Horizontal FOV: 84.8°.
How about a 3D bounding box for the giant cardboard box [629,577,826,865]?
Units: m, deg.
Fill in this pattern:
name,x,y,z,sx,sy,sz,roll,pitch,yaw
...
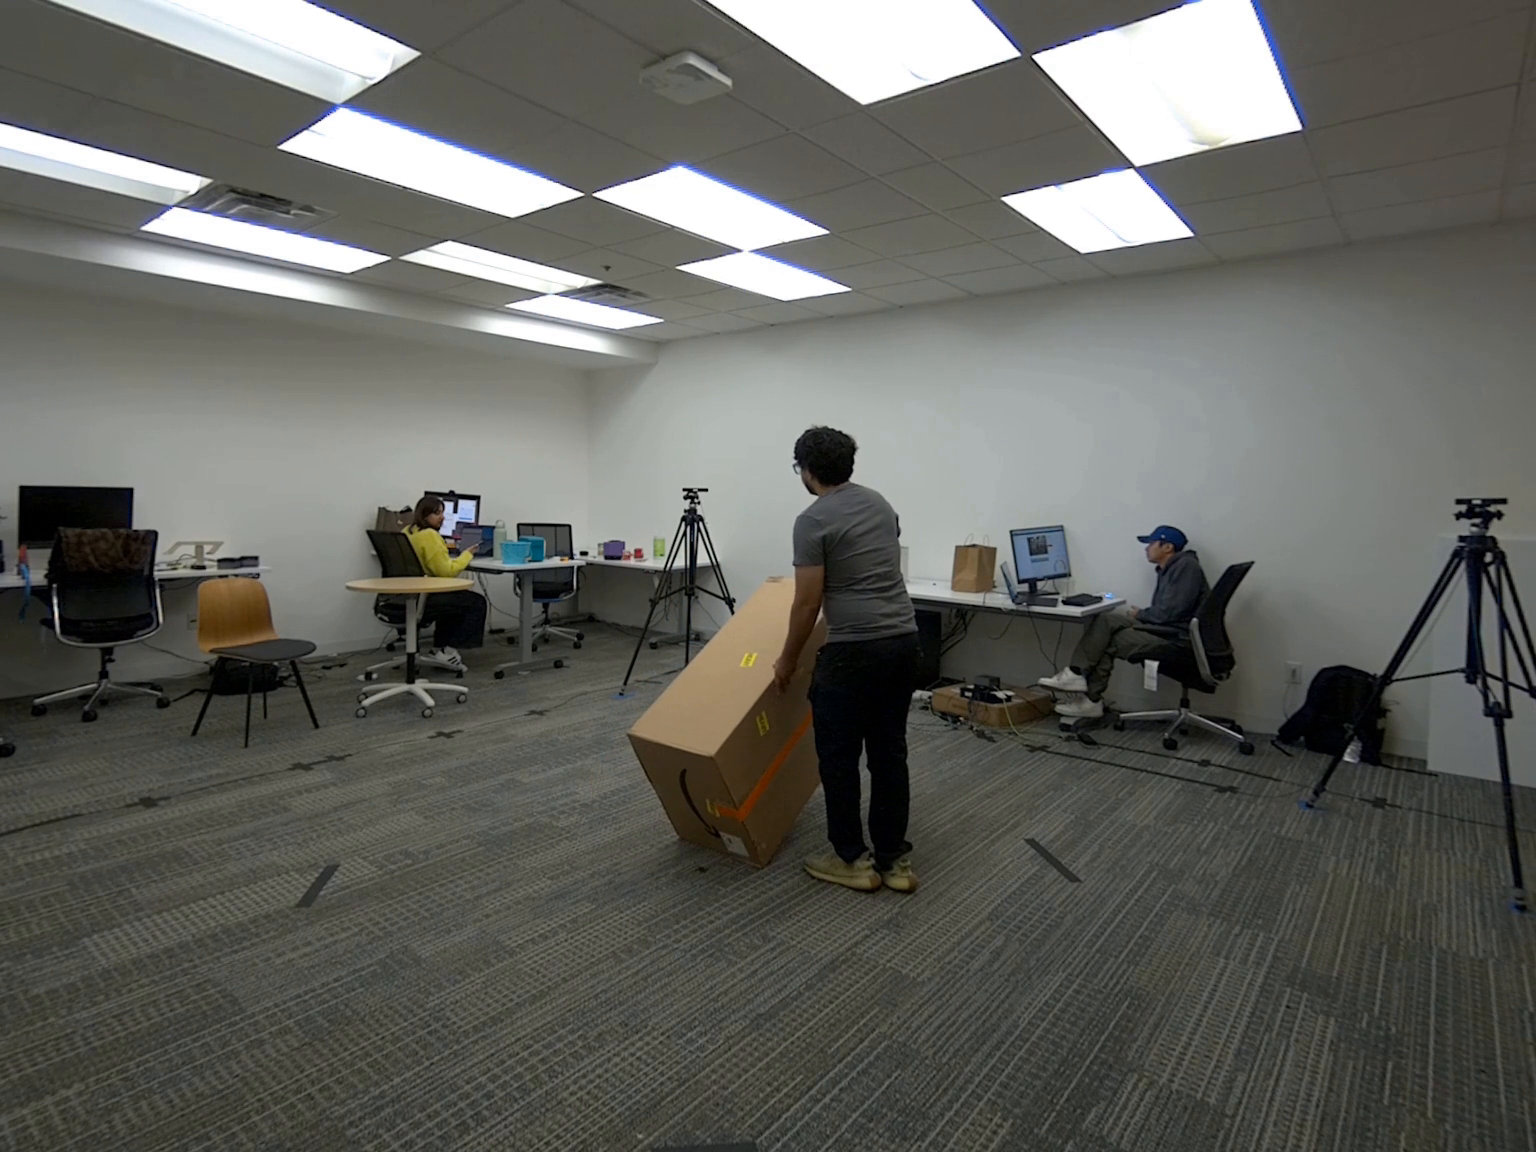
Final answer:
name,x,y,z,sx,sy,sz,roll,pitch,yaw
giant cardboard box,-0.019,0.539,3.451,0.440,0.560,1.024,4,37,38
